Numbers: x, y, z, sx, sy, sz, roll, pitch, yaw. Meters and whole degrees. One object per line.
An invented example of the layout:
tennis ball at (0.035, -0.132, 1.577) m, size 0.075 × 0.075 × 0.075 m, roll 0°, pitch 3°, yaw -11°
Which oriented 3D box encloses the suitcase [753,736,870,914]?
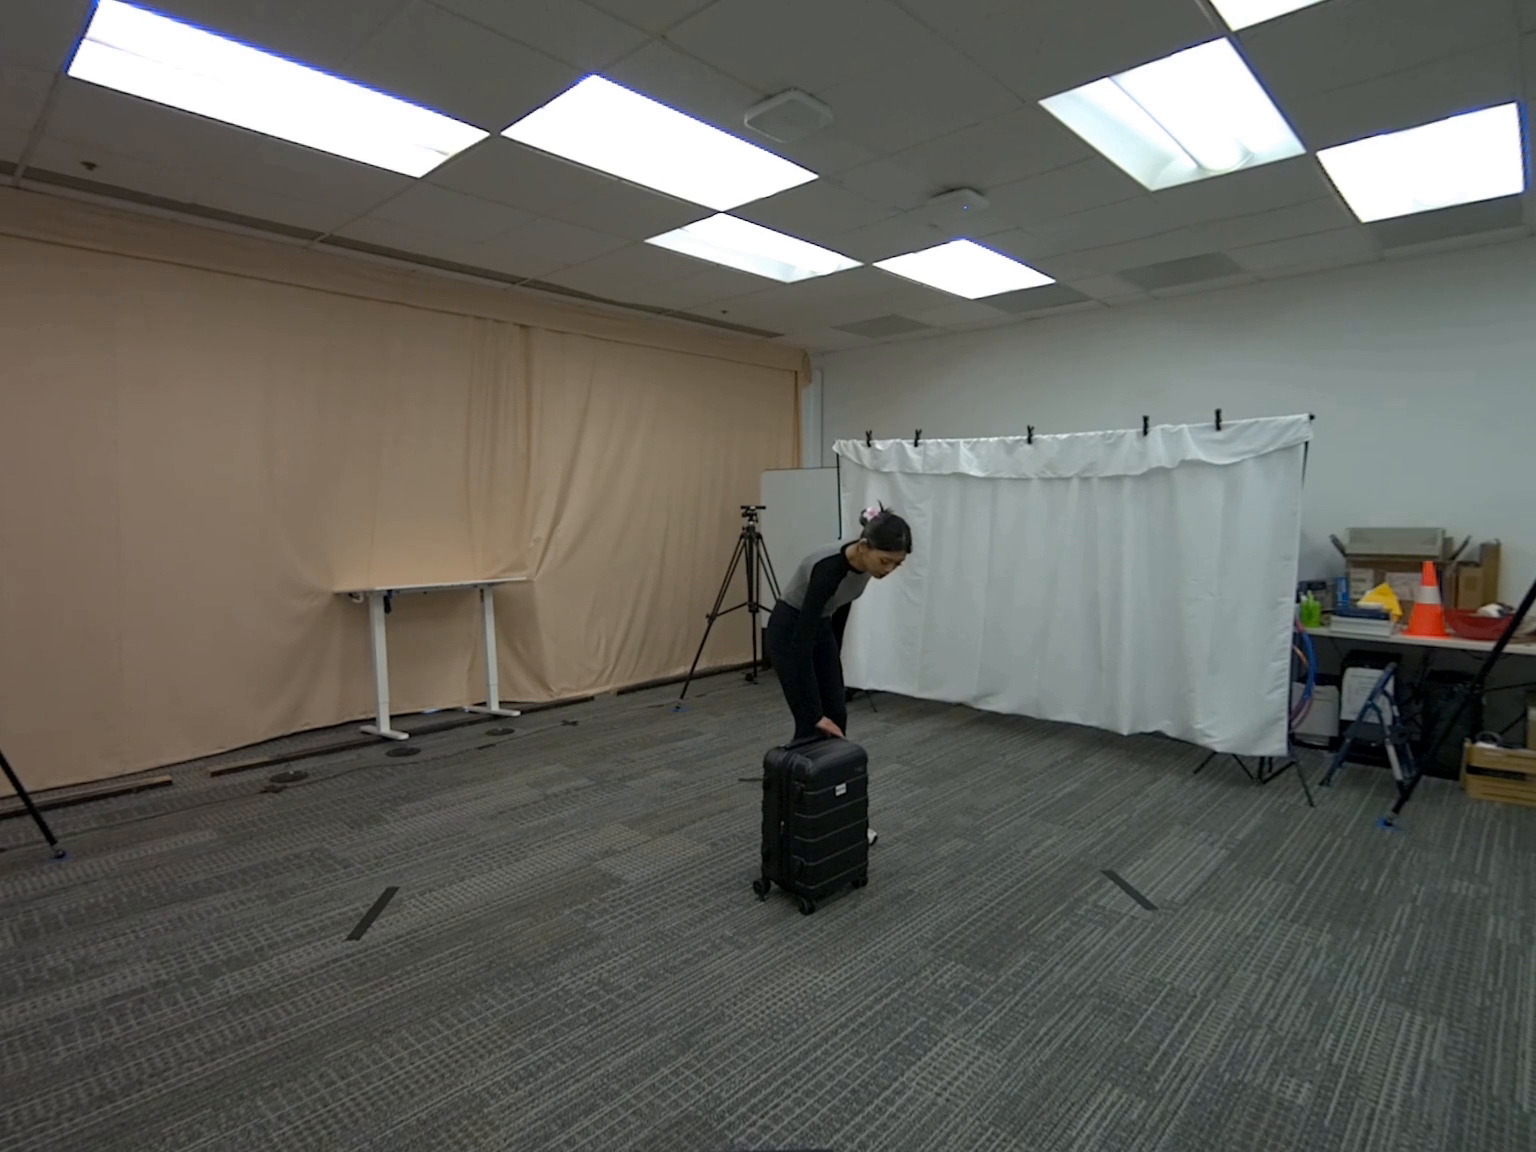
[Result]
suitcase at (0.169, 0.864, 3.022) m, size 0.364 × 0.548 × 0.257 m, roll -2°, pitch 6°, yaw -44°
